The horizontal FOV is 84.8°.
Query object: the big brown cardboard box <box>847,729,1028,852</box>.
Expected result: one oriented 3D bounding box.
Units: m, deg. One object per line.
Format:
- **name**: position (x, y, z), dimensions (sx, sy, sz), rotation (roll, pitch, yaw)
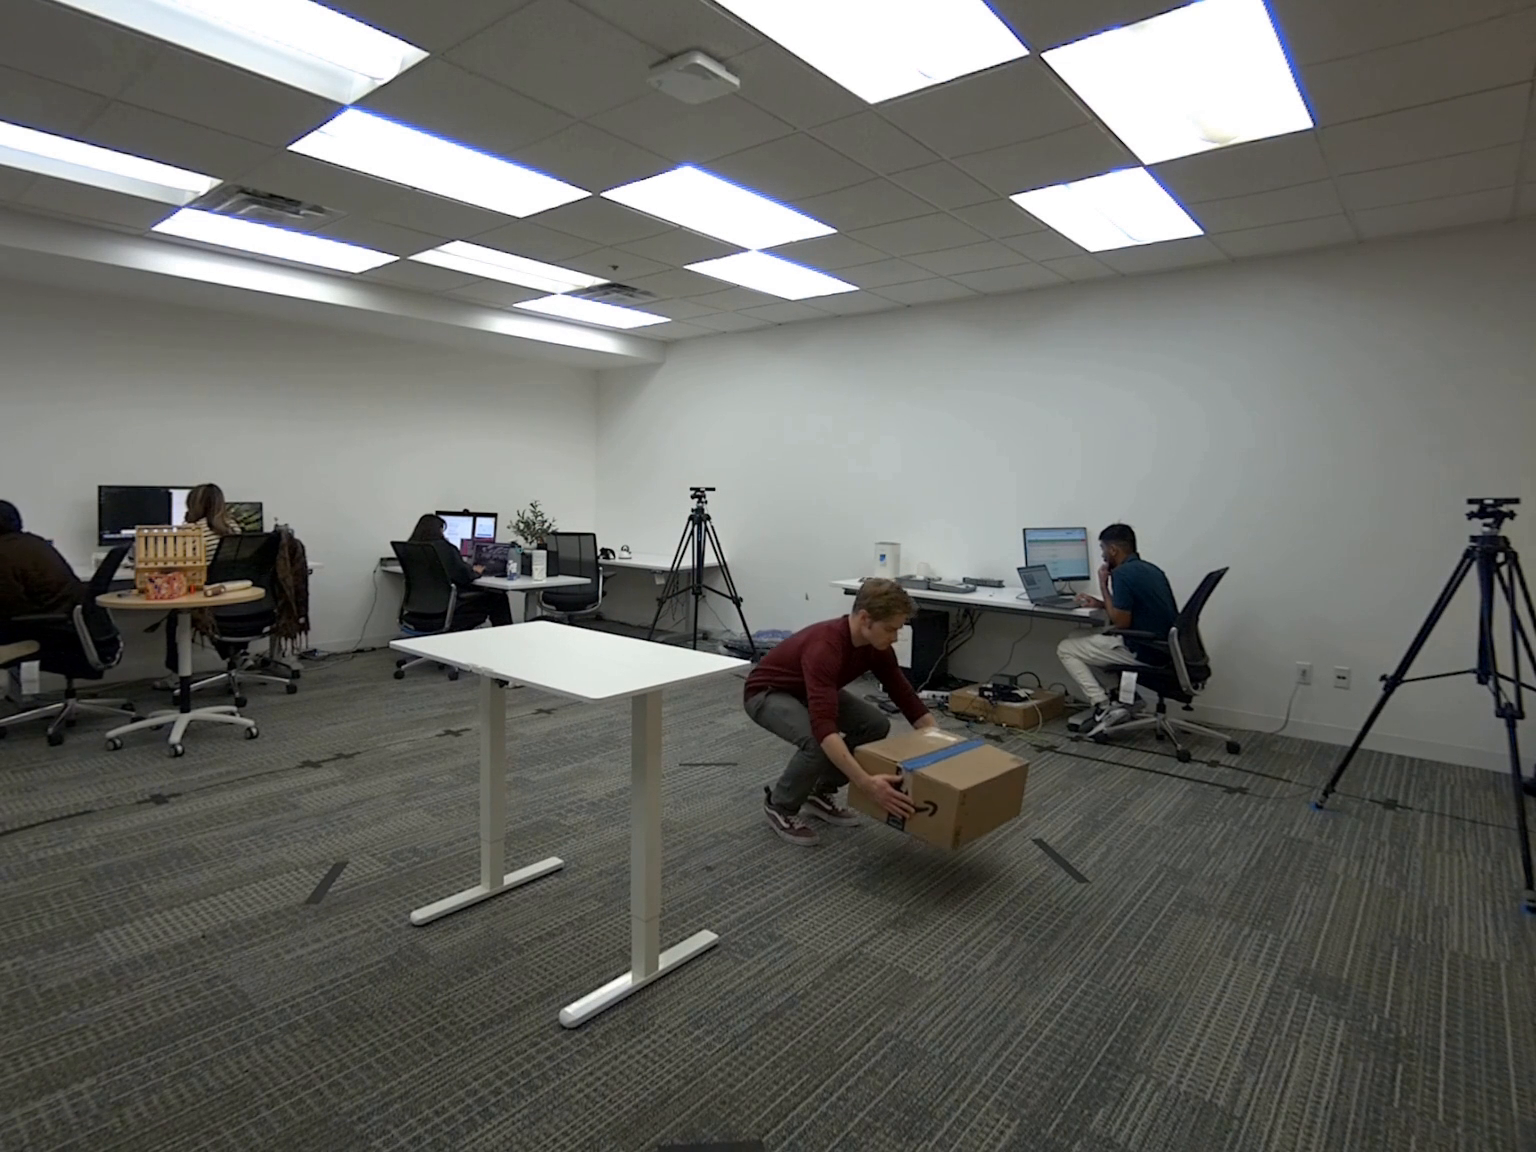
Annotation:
- **big brown cardboard box**: position (0.621, 0.740, 3.098), dimensions (0.433, 0.232, 0.570), rotation (14, 10, 39)
